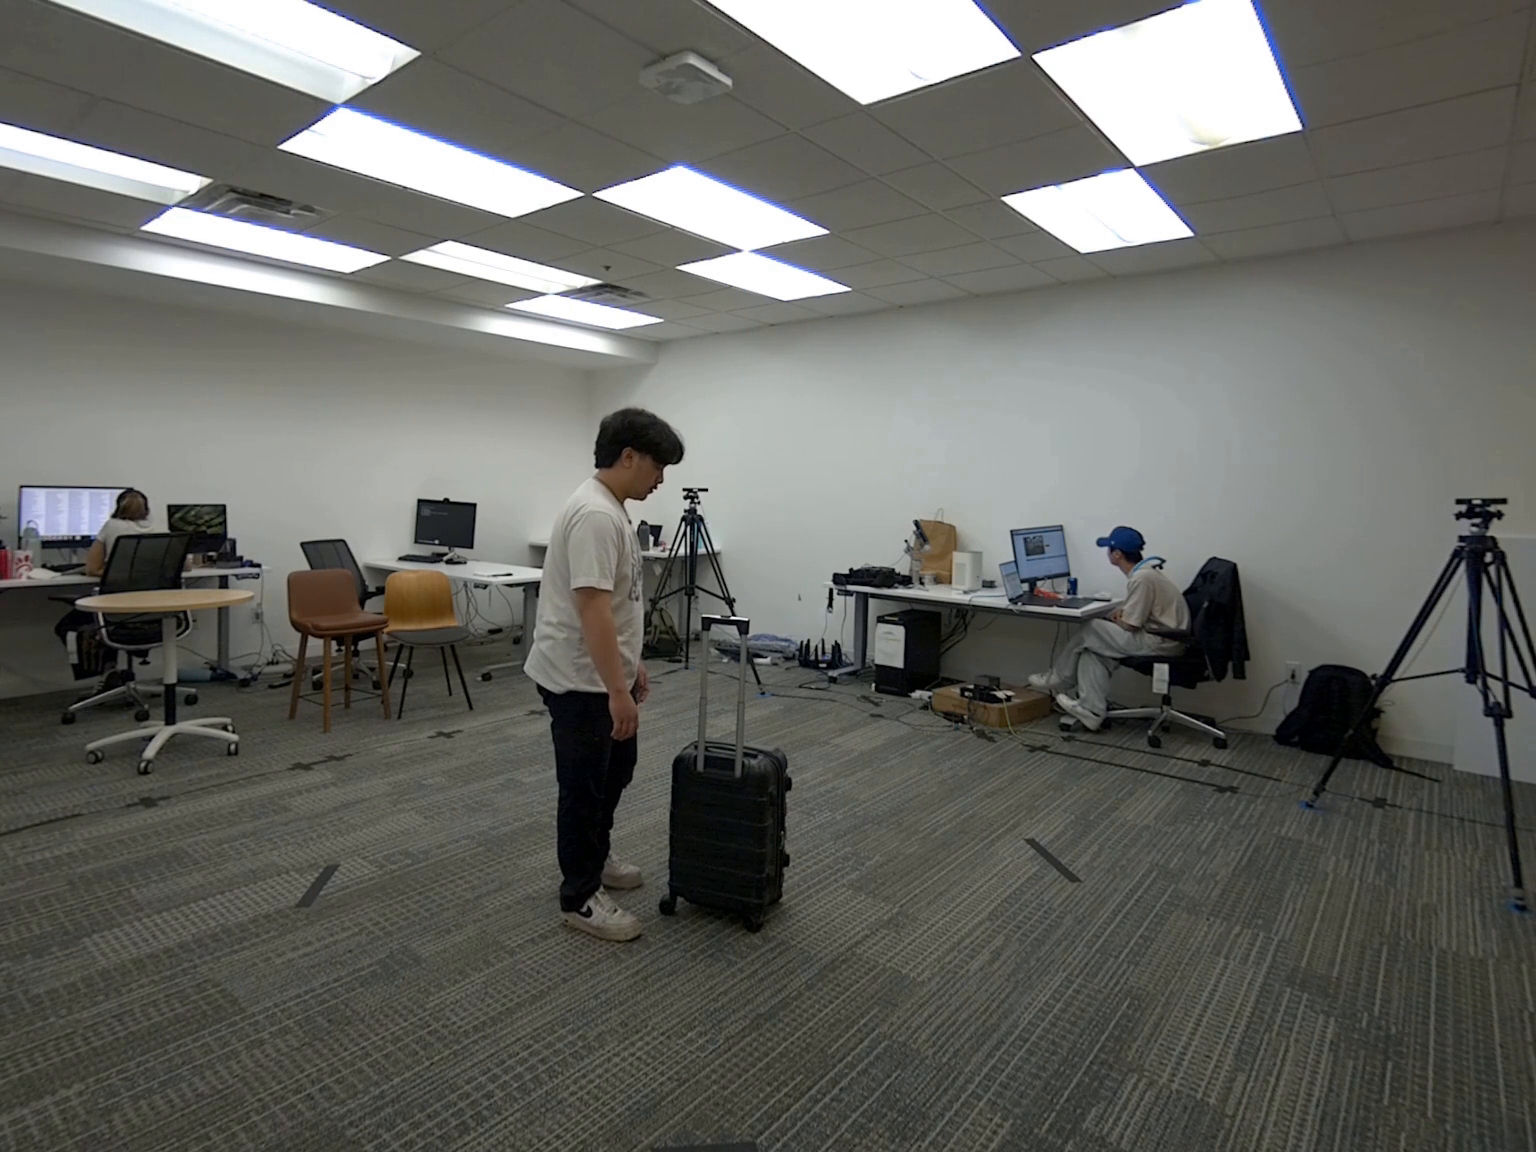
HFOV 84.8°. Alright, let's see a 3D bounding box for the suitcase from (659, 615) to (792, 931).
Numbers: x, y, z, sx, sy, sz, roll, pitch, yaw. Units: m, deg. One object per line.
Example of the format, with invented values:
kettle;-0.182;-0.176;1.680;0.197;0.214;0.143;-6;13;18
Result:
suitcase;-0.129;0.629;2.804;0.393;0.978;0.251;4;1;21
